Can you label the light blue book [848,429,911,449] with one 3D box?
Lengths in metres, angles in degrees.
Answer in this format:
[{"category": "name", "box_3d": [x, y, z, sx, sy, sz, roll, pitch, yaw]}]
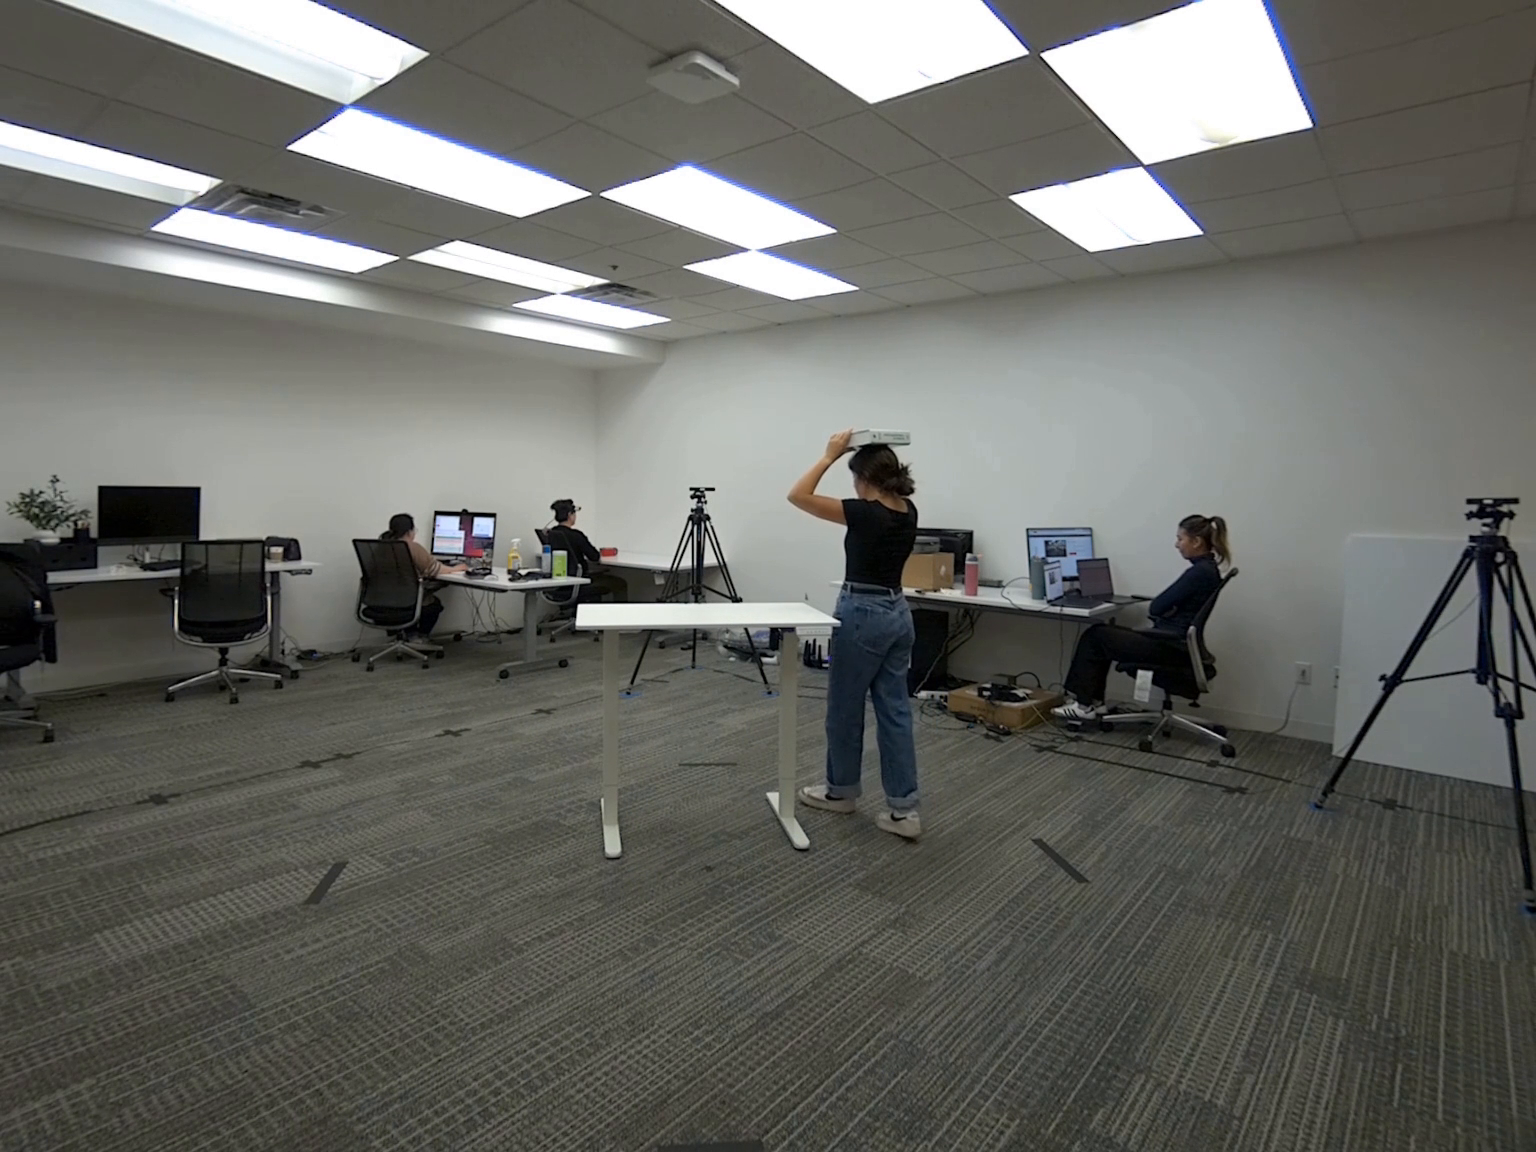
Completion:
[{"category": "light blue book", "box_3d": [0.439, -0.572, 3.551, 0.197, 0.059, 0.253, -1, 3, 44]}]
